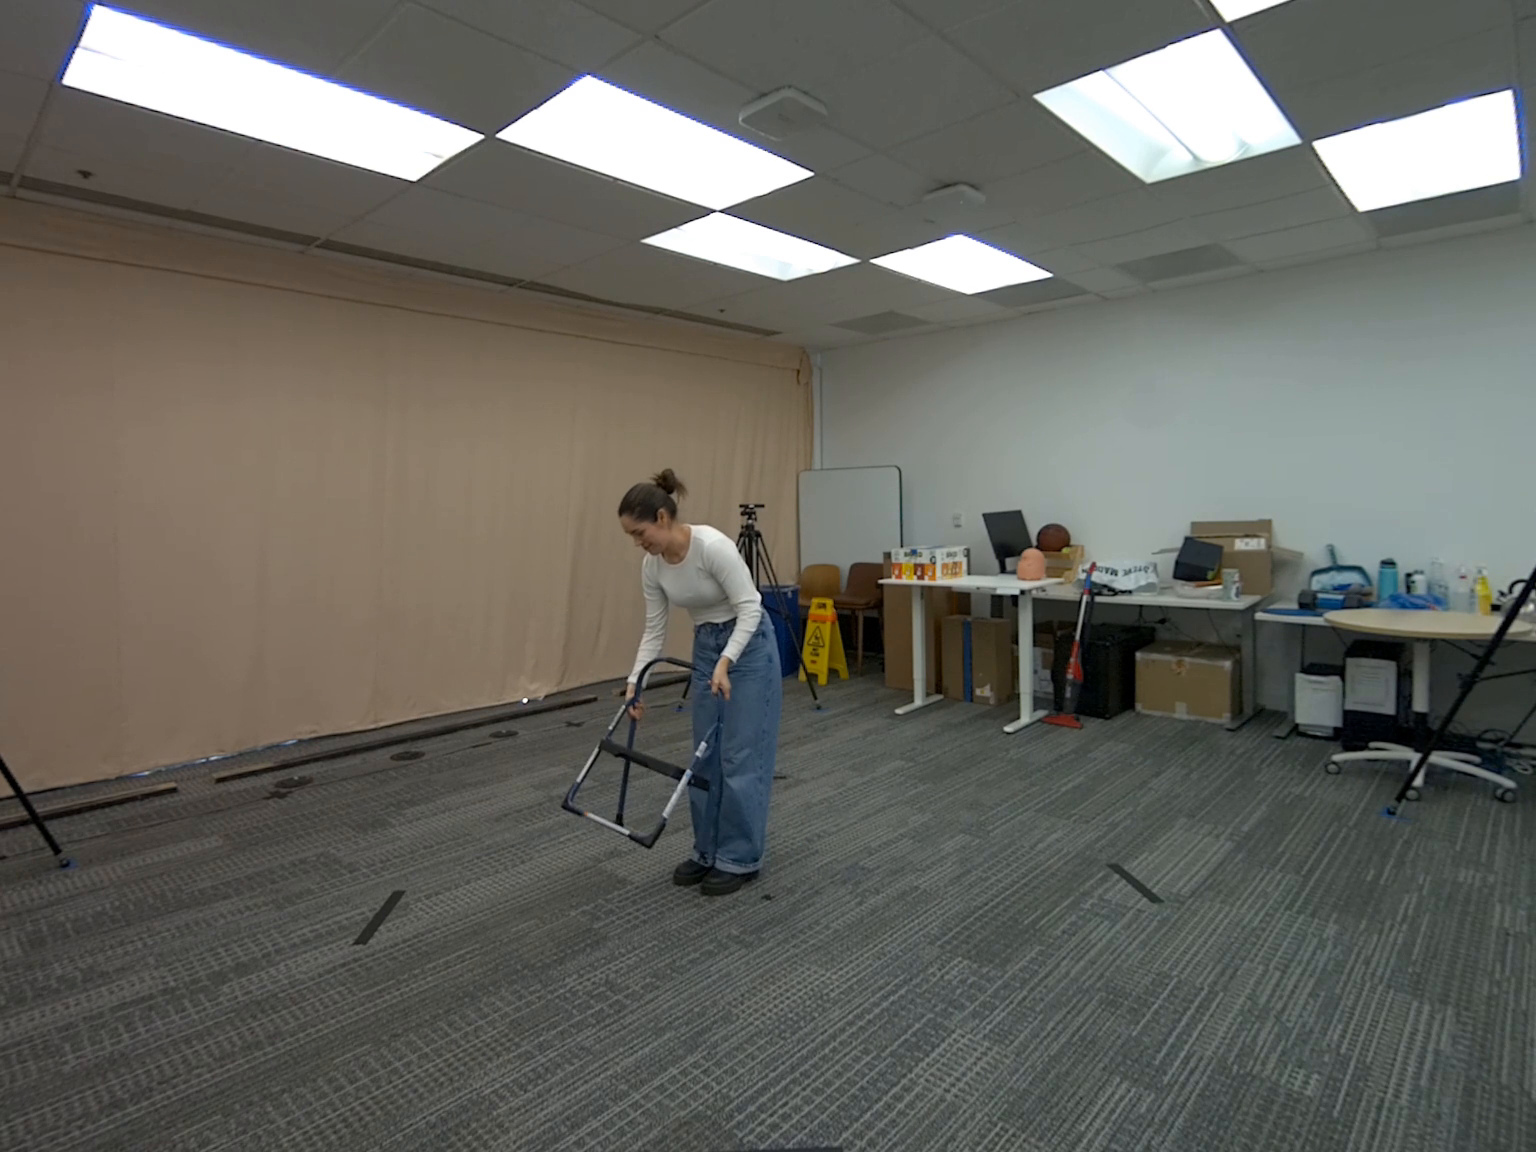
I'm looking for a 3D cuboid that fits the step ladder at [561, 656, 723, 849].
[{"bbox_3d":[-0.371,0.597,2.927,0.445,0.608,0.337,9,-19,35],"label":"step ladder"}]
